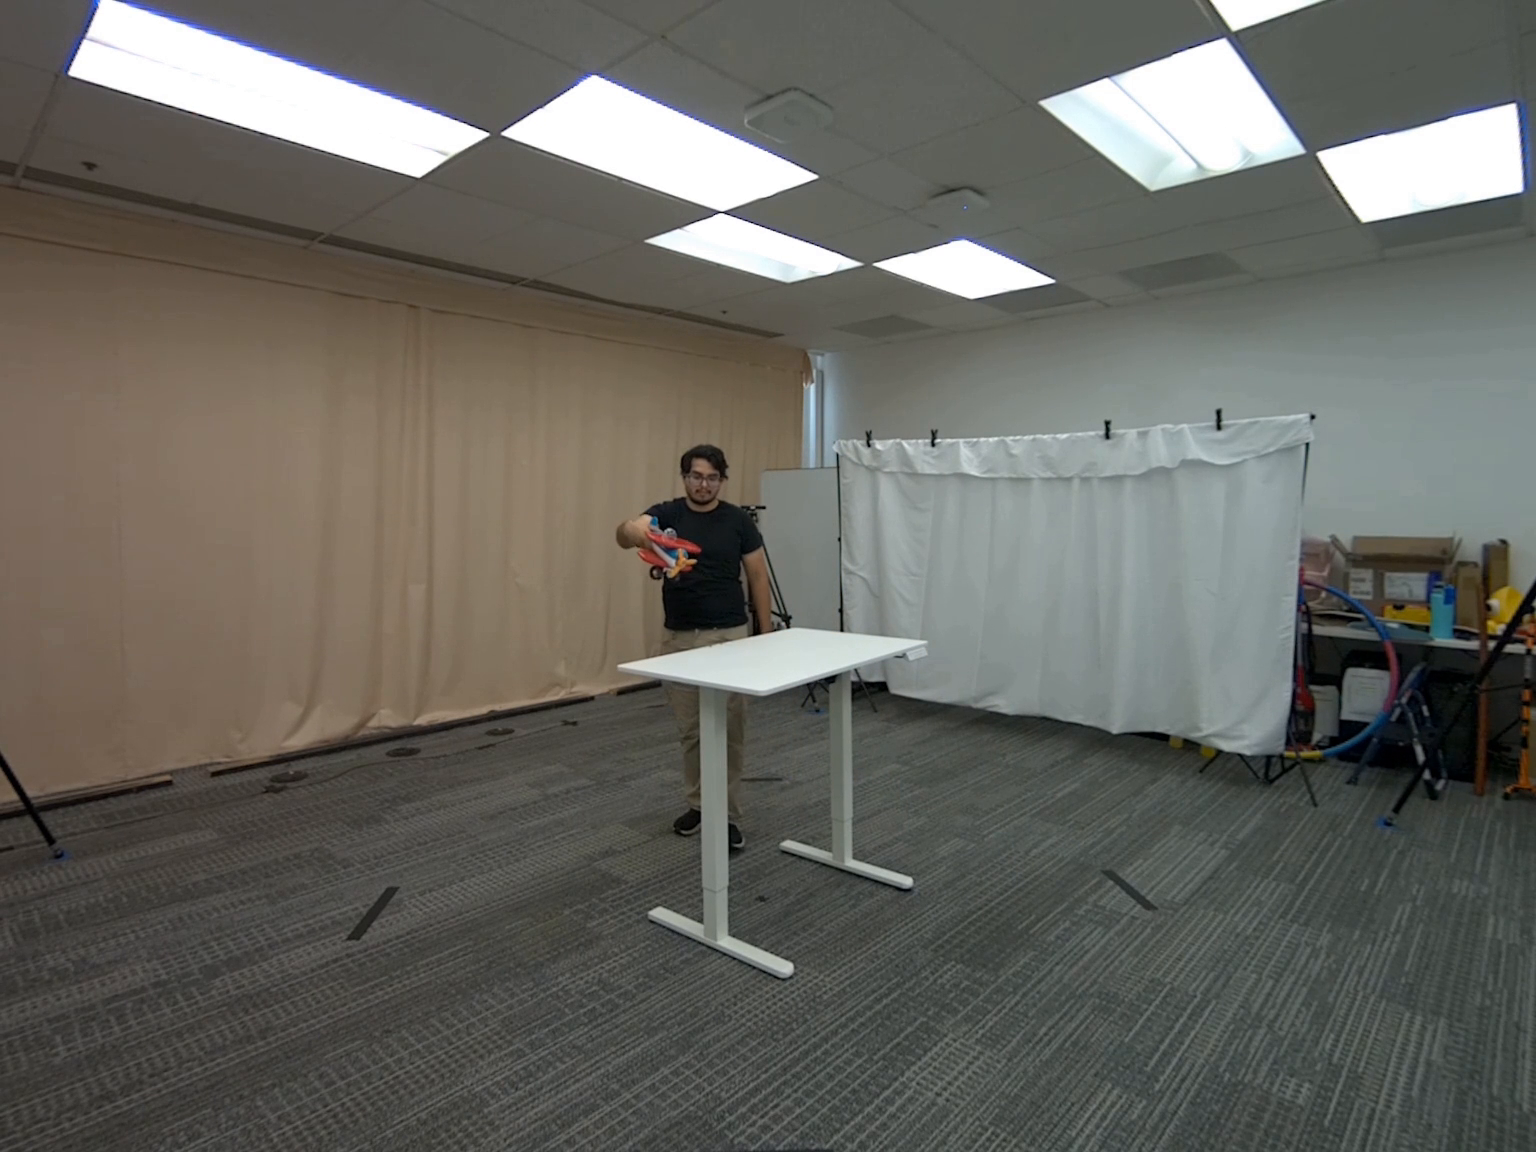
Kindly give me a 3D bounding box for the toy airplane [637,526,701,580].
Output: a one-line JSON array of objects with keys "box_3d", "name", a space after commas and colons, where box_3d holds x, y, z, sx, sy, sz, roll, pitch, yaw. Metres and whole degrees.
[{"box_3d": [-0.397, -0.104, 3.144, 0.262, 0.157, 0.247, 44, 21, 8], "name": "toy airplane"}]
